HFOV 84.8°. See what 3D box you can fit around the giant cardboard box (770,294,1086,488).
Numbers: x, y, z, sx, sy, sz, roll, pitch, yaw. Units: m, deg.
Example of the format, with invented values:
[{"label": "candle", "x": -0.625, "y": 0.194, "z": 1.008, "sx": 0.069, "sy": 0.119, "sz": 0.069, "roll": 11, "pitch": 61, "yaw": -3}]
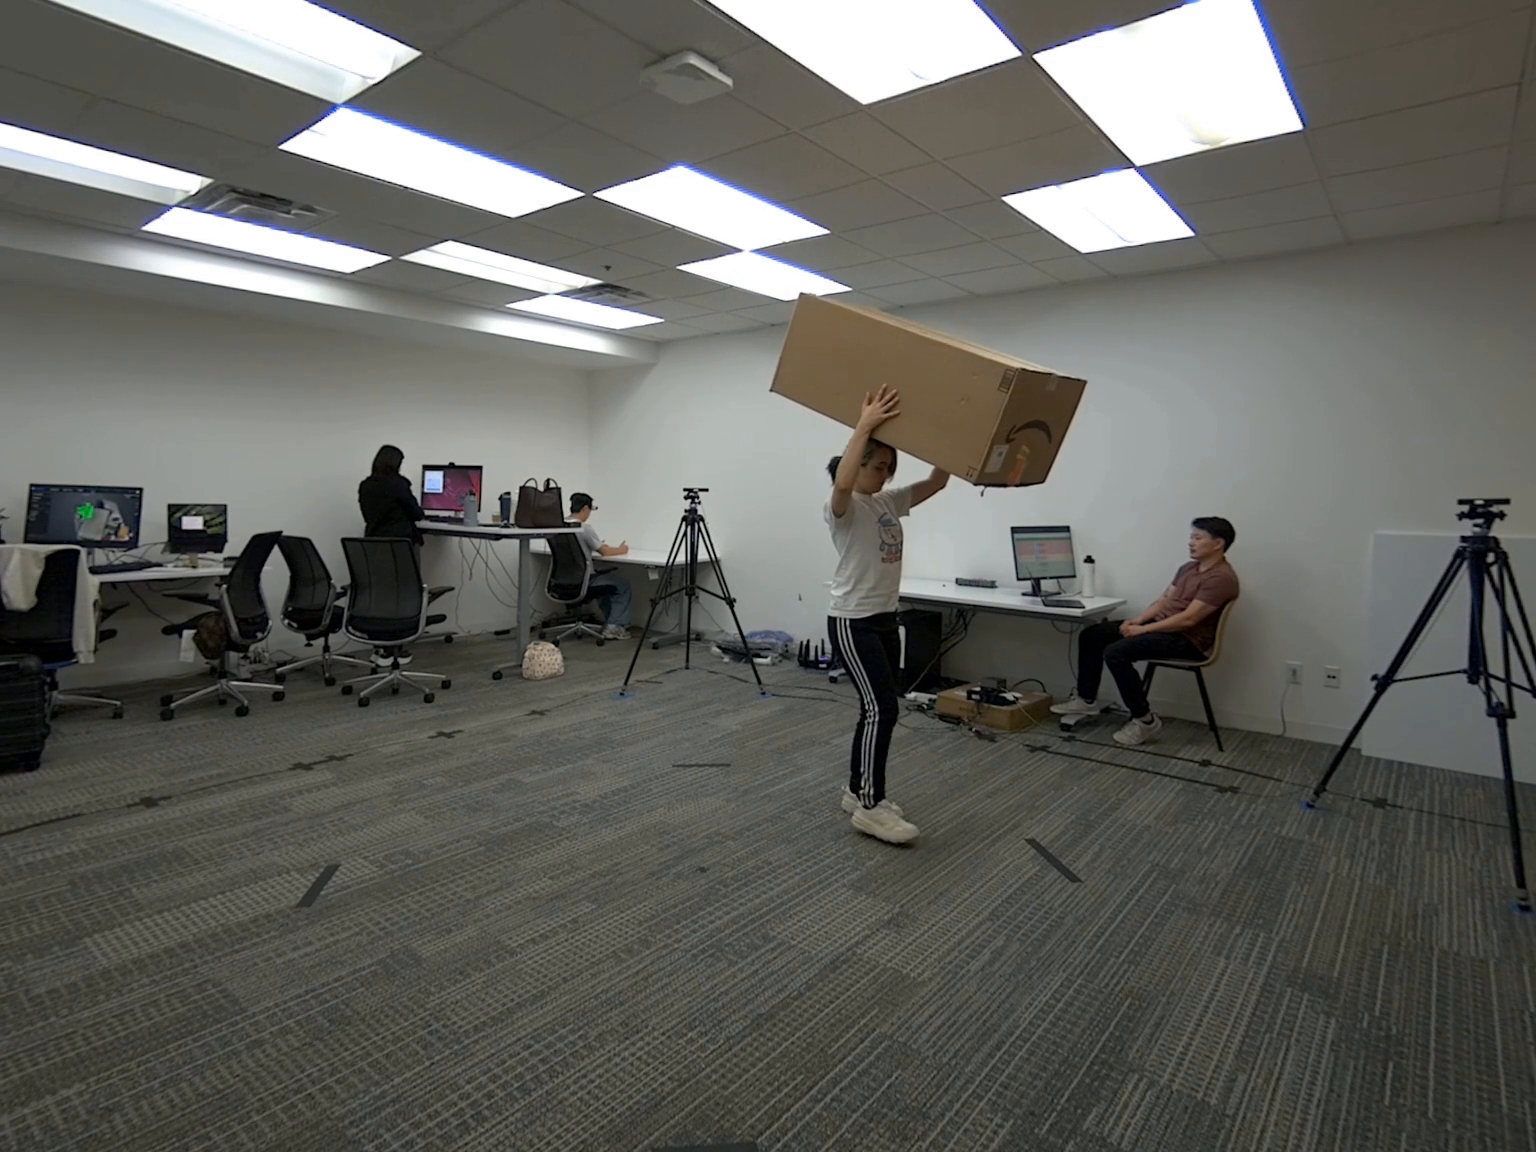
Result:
[{"label": "giant cardboard box", "x": 0.597, "y": -0.754, "z": 3.398, "sx": 0.566, "sy": 0.442, "sz": 1.070, "roll": -4, "pitch": 30, "yaw": -47}]
